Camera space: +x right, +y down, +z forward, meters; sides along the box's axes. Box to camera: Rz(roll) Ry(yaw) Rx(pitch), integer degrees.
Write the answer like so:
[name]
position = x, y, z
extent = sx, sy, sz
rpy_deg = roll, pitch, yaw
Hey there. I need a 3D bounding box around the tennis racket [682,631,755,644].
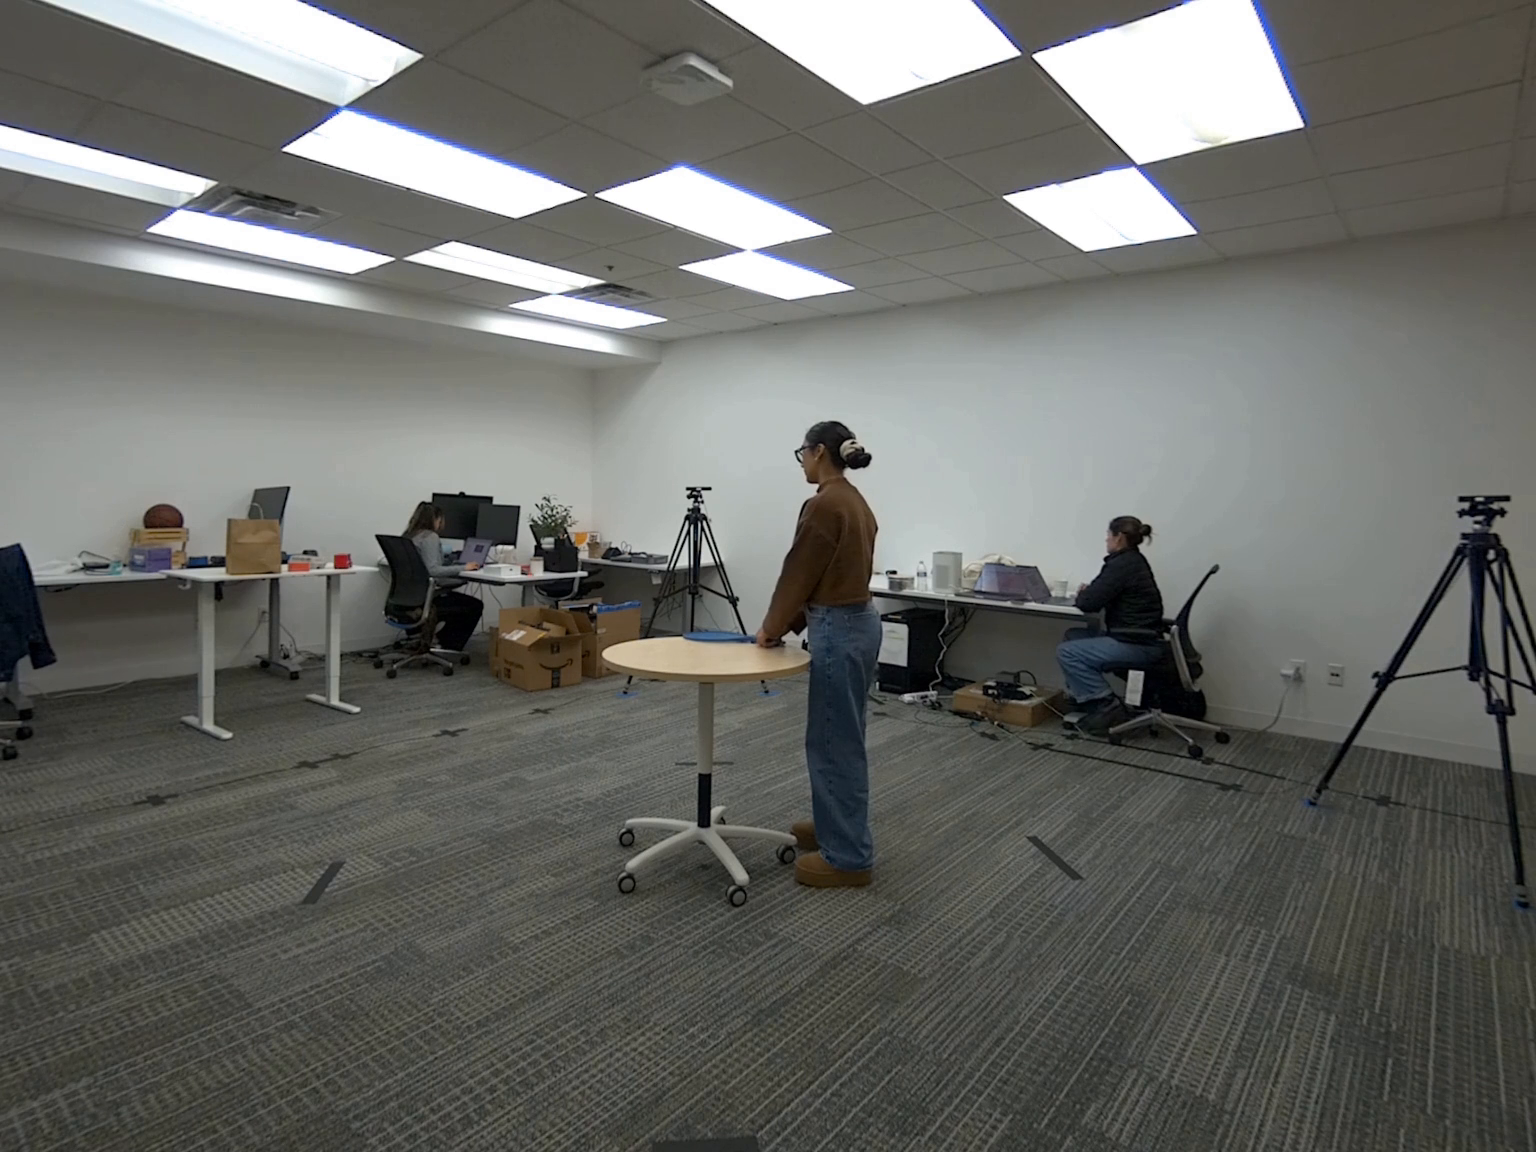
[tennis racket]
position = -0.179, 0.244, 3.441
extent = 0.445, 0.031, 0.208
rpy_deg = 2, 7, 30
